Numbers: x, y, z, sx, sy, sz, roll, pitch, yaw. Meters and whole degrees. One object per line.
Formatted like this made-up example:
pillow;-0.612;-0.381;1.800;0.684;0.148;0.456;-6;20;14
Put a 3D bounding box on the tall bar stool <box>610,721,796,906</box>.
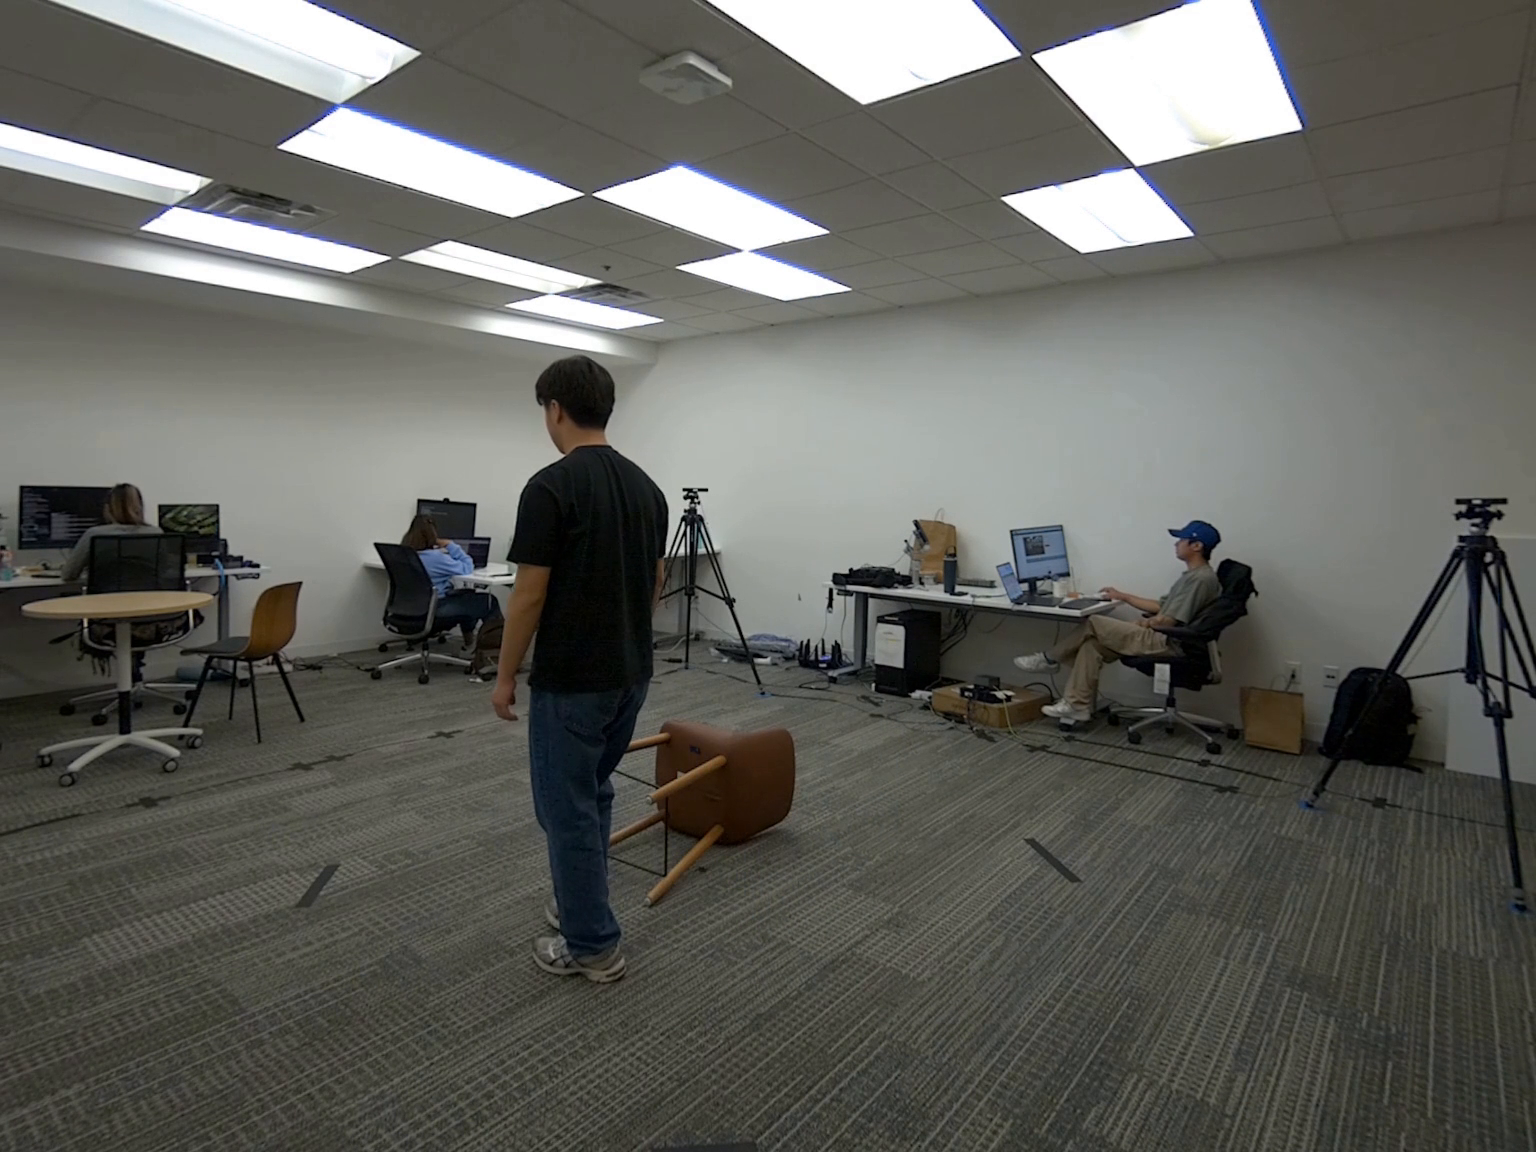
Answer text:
tall bar stool;-0.344;0.836;3.270;0.483;0.454;0.866;6;9;36
